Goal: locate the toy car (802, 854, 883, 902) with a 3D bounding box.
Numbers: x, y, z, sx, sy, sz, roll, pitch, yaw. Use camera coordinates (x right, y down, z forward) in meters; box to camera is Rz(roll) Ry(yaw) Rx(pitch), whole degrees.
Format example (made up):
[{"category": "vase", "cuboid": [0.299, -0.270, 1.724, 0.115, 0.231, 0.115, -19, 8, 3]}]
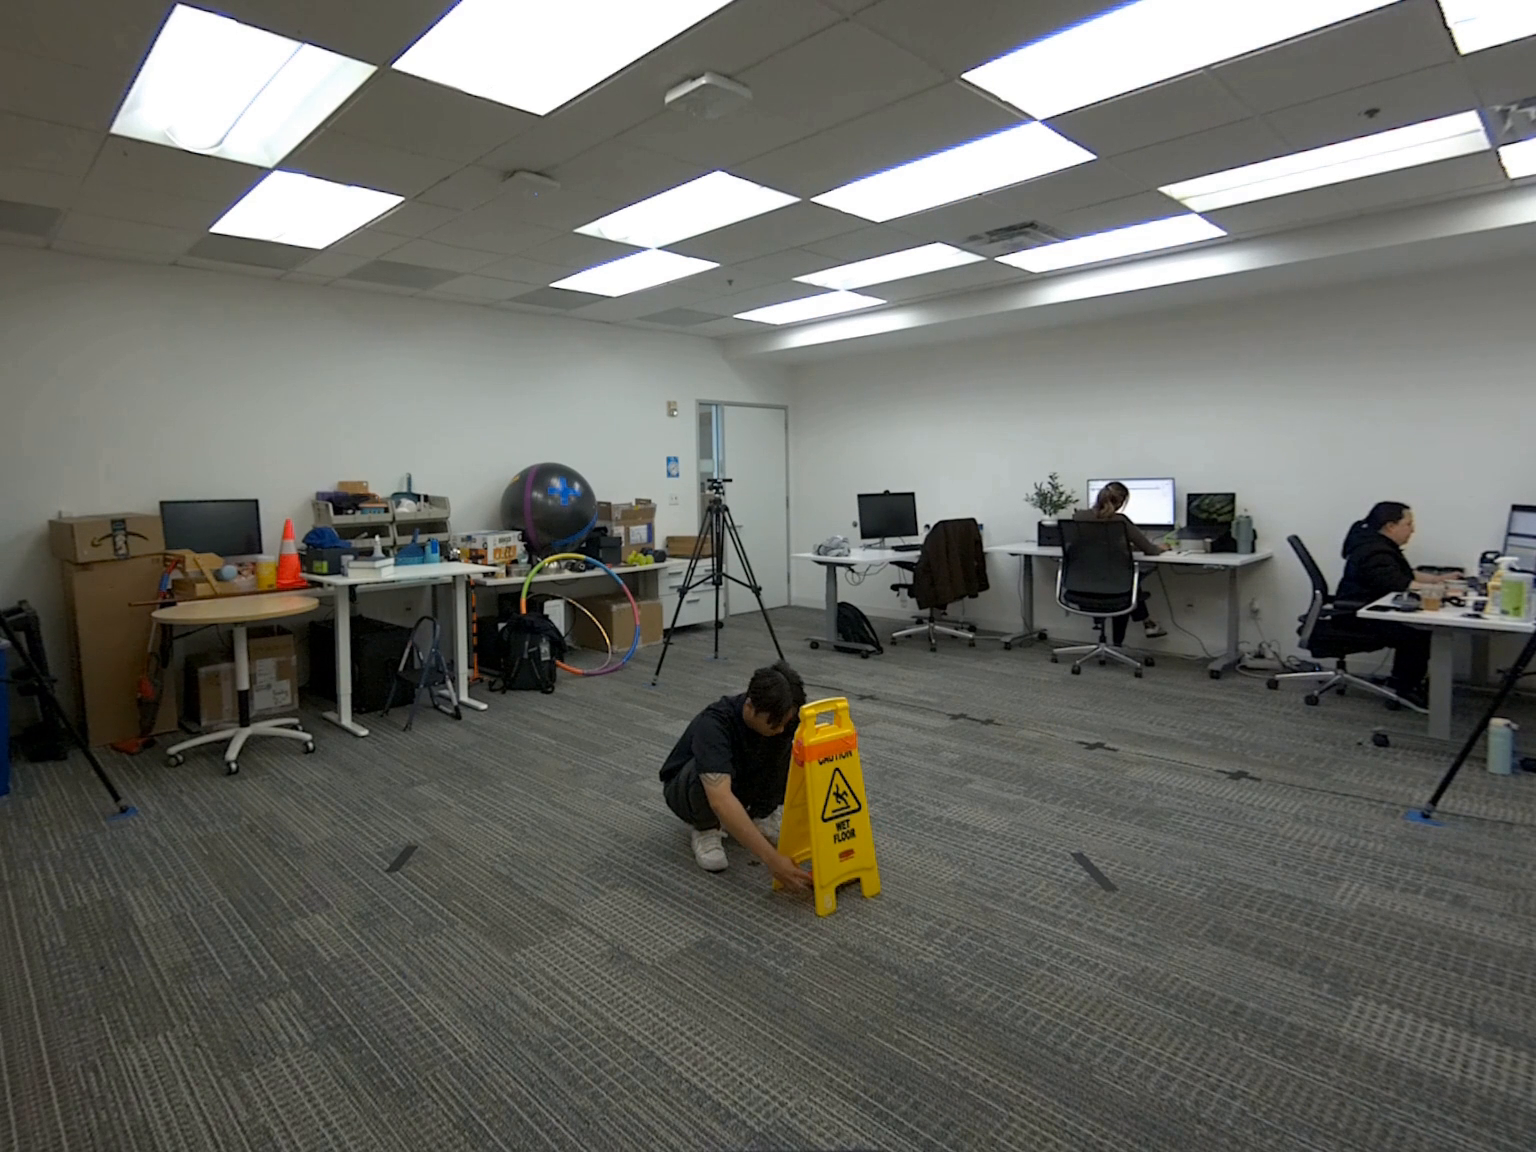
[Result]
[{"category": "toy car", "cuboid": [0.249, 1.030, 2.935, 0.246, 0.083, 0.134, 9, 0, -38]}]
